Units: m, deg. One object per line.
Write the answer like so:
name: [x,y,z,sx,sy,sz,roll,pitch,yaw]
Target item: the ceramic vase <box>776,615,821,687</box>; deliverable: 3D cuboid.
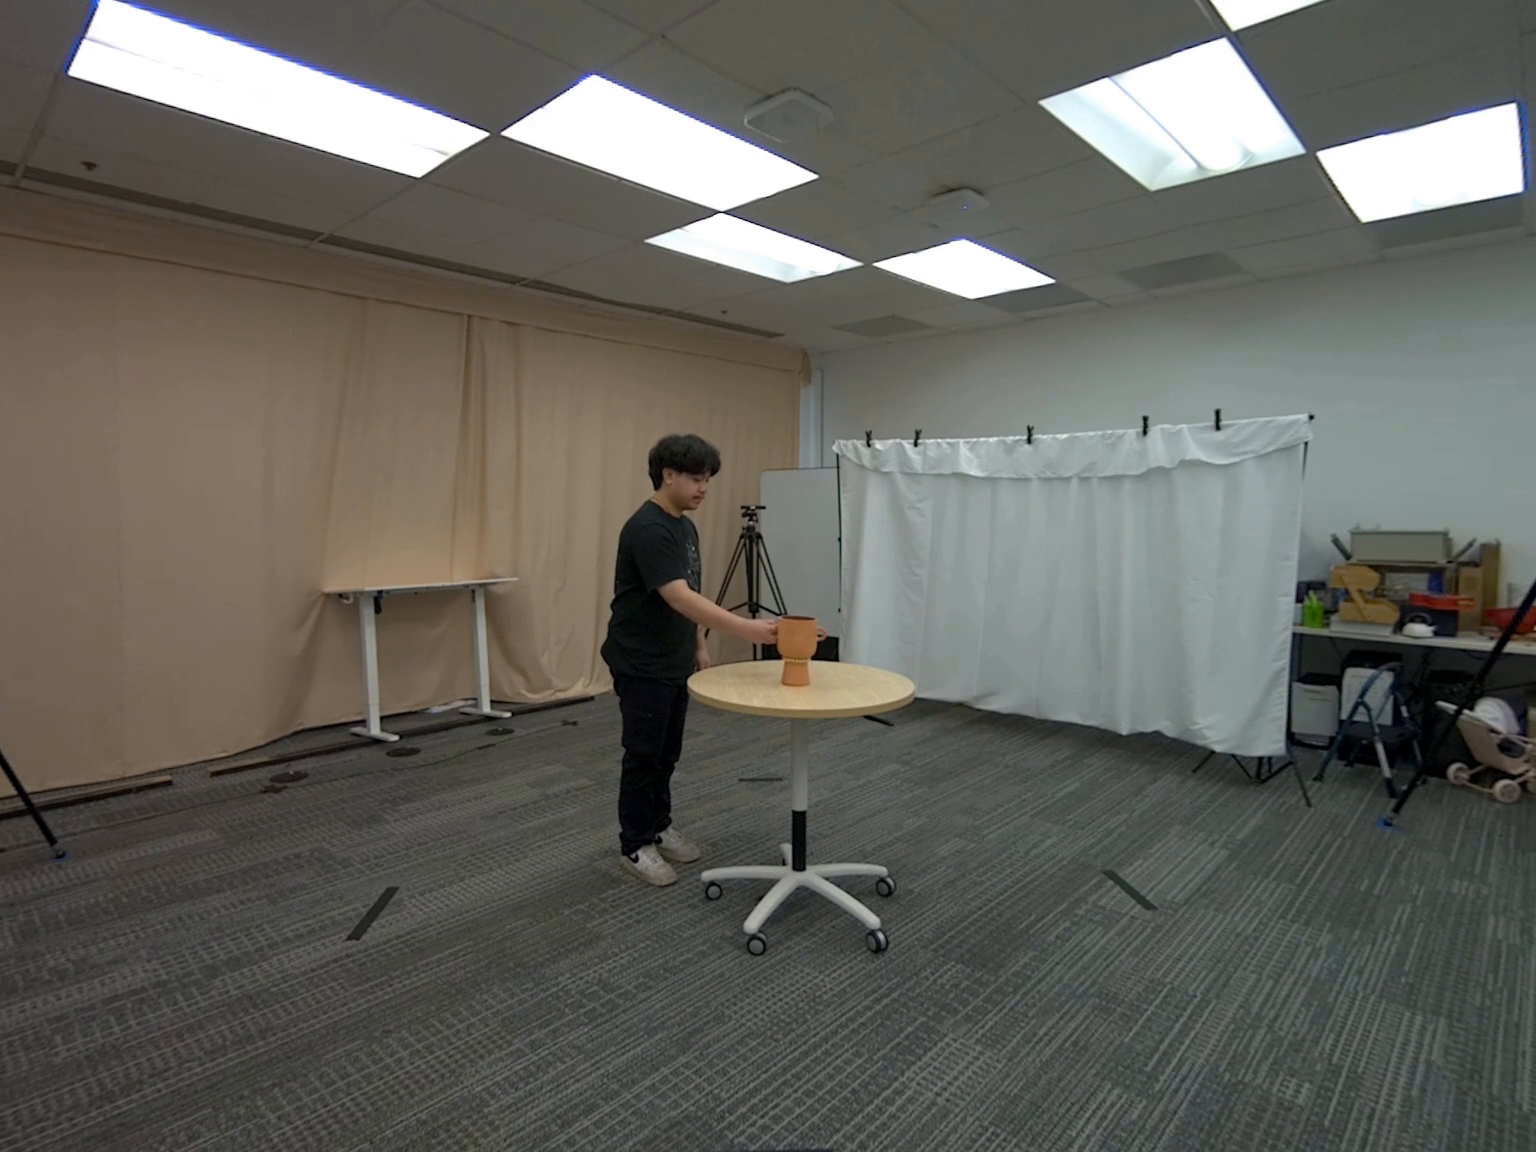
ceramic vase: [0.097,0.251,2.831,0.130,0.219,0.164,0,4,-39]
